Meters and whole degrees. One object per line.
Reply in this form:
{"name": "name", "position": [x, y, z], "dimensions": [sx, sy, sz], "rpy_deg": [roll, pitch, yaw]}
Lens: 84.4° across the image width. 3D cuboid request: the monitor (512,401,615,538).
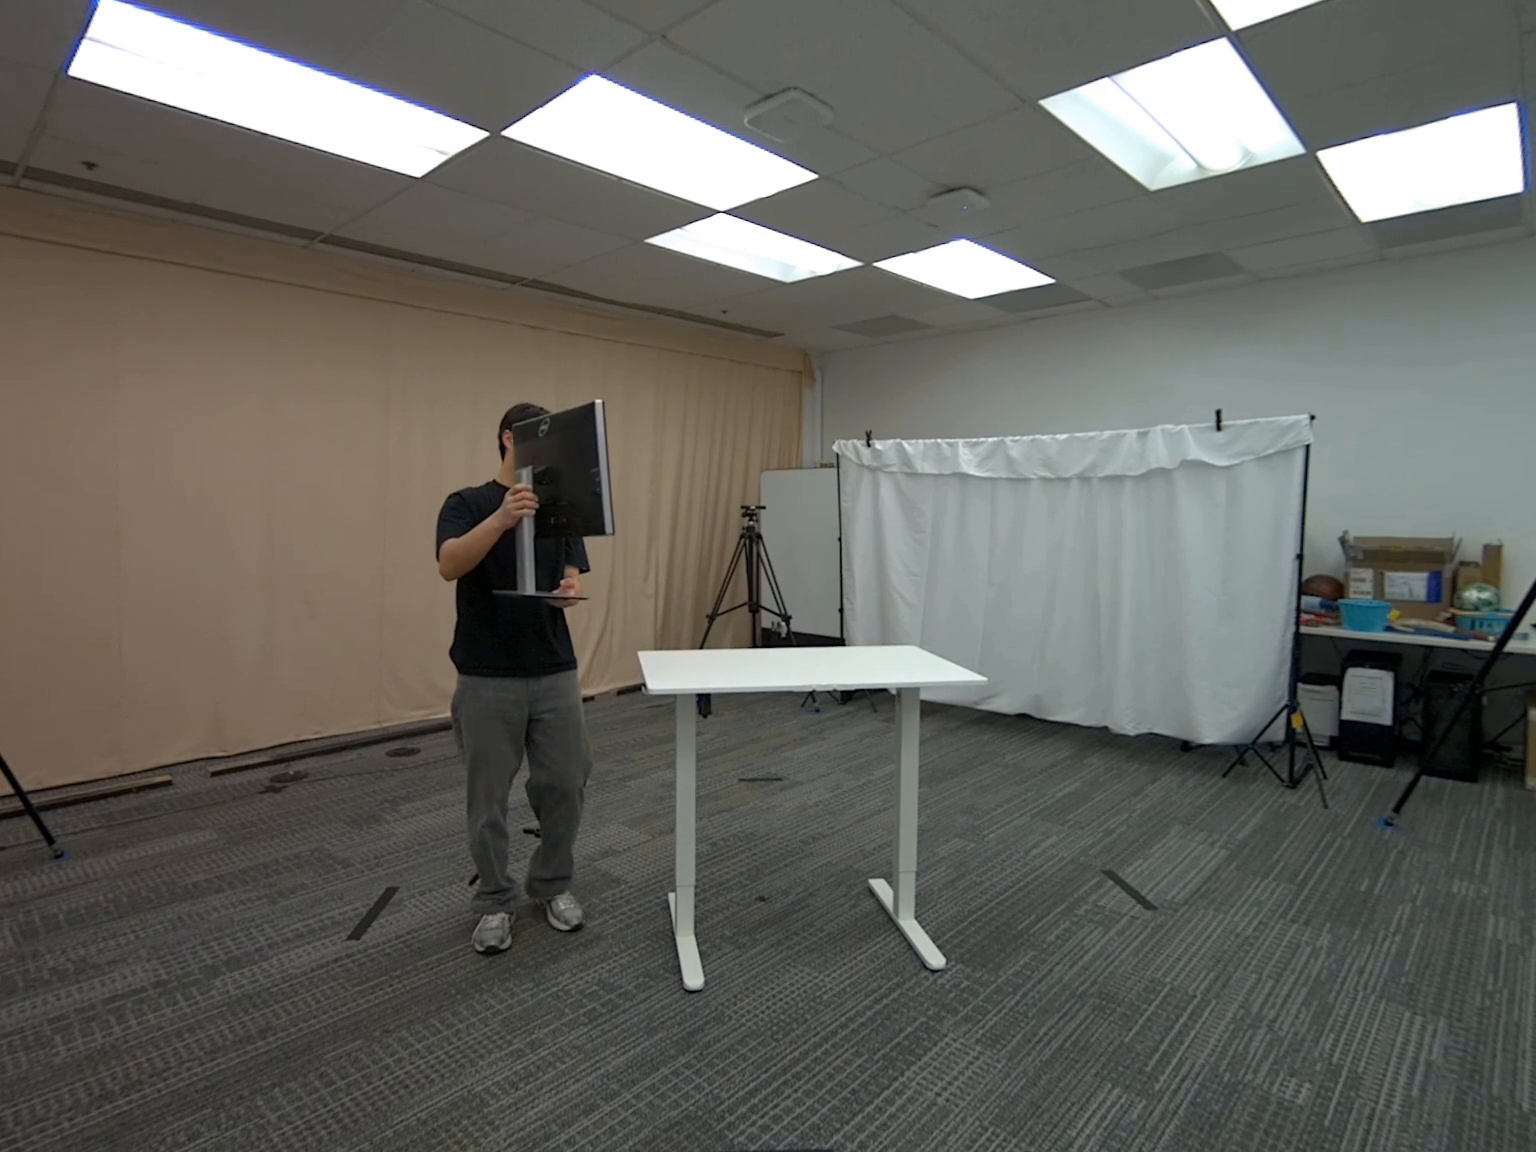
{"name": "monitor", "position": [-0.638, -0.191, 2.432], "dimensions": [0.215, 0.567, 0.579], "rpy_deg": [11, -6, -36]}
